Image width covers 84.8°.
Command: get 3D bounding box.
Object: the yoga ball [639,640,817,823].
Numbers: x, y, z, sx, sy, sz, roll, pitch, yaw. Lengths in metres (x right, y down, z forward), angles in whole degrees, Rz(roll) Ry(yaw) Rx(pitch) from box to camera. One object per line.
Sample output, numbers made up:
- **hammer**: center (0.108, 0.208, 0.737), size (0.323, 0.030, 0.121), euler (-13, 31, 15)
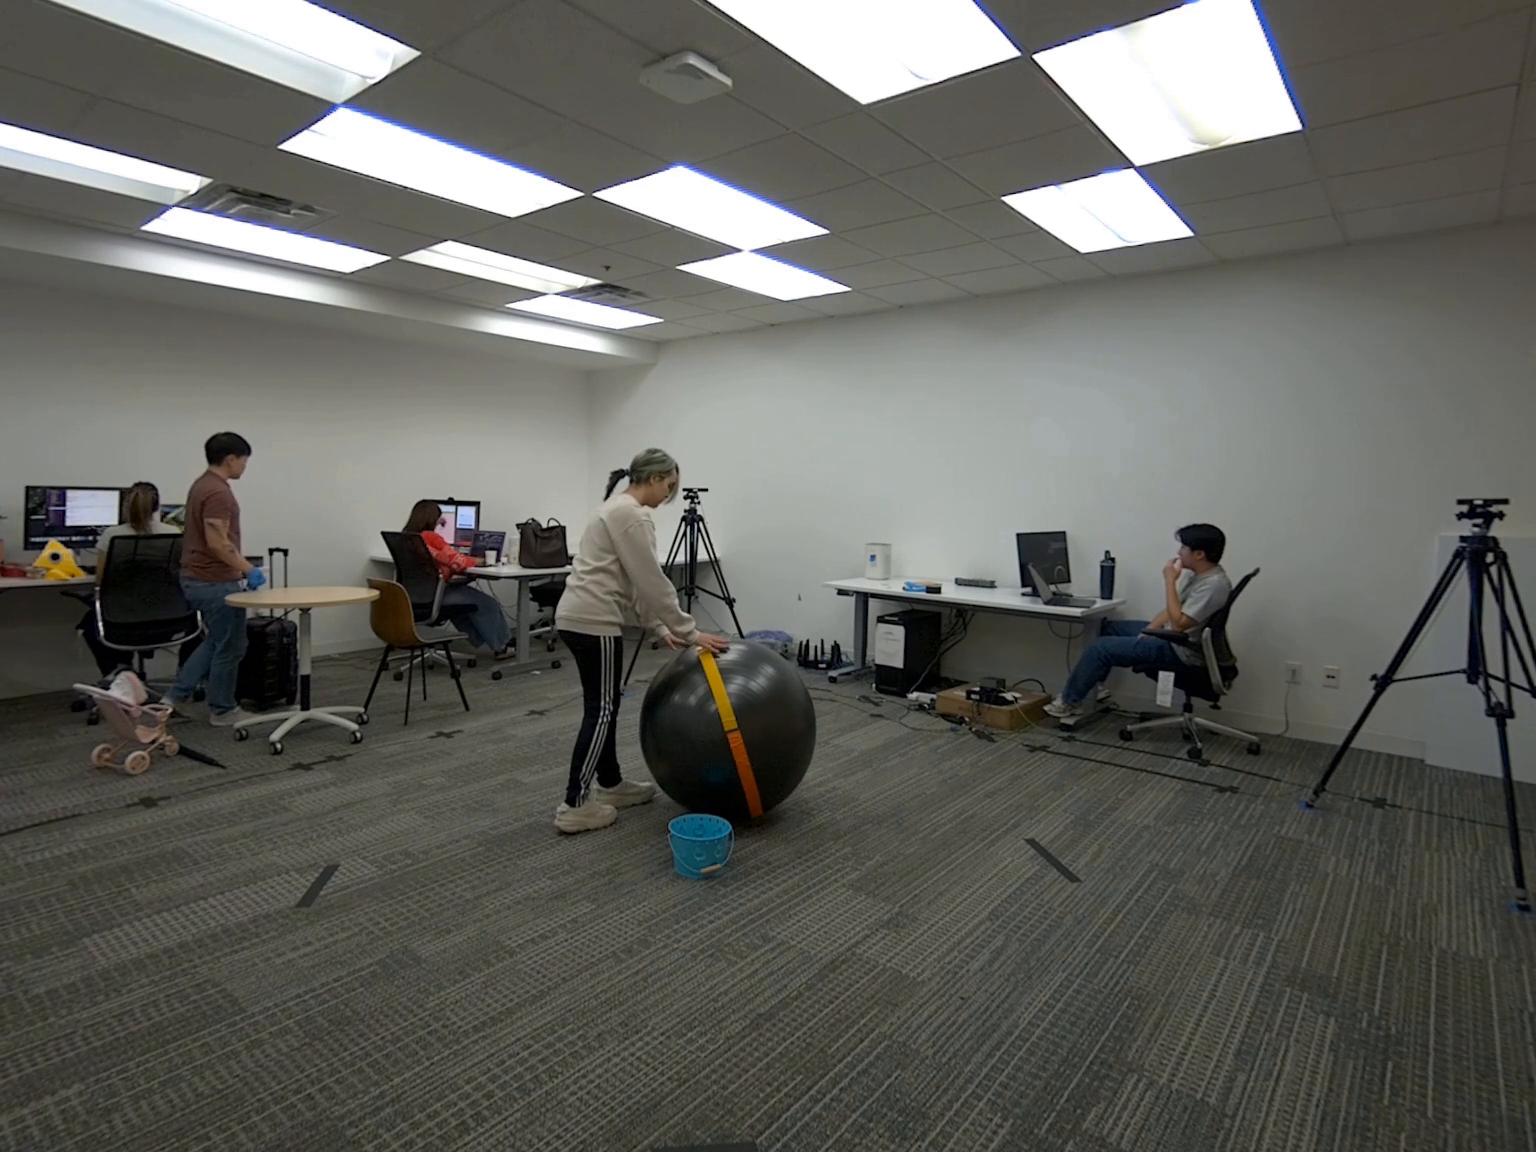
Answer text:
- **yoga ball**: center (-0.175, 0.652, 3.647), size (0.757, 0.755, 0.762), euler (1, 4, -2)
